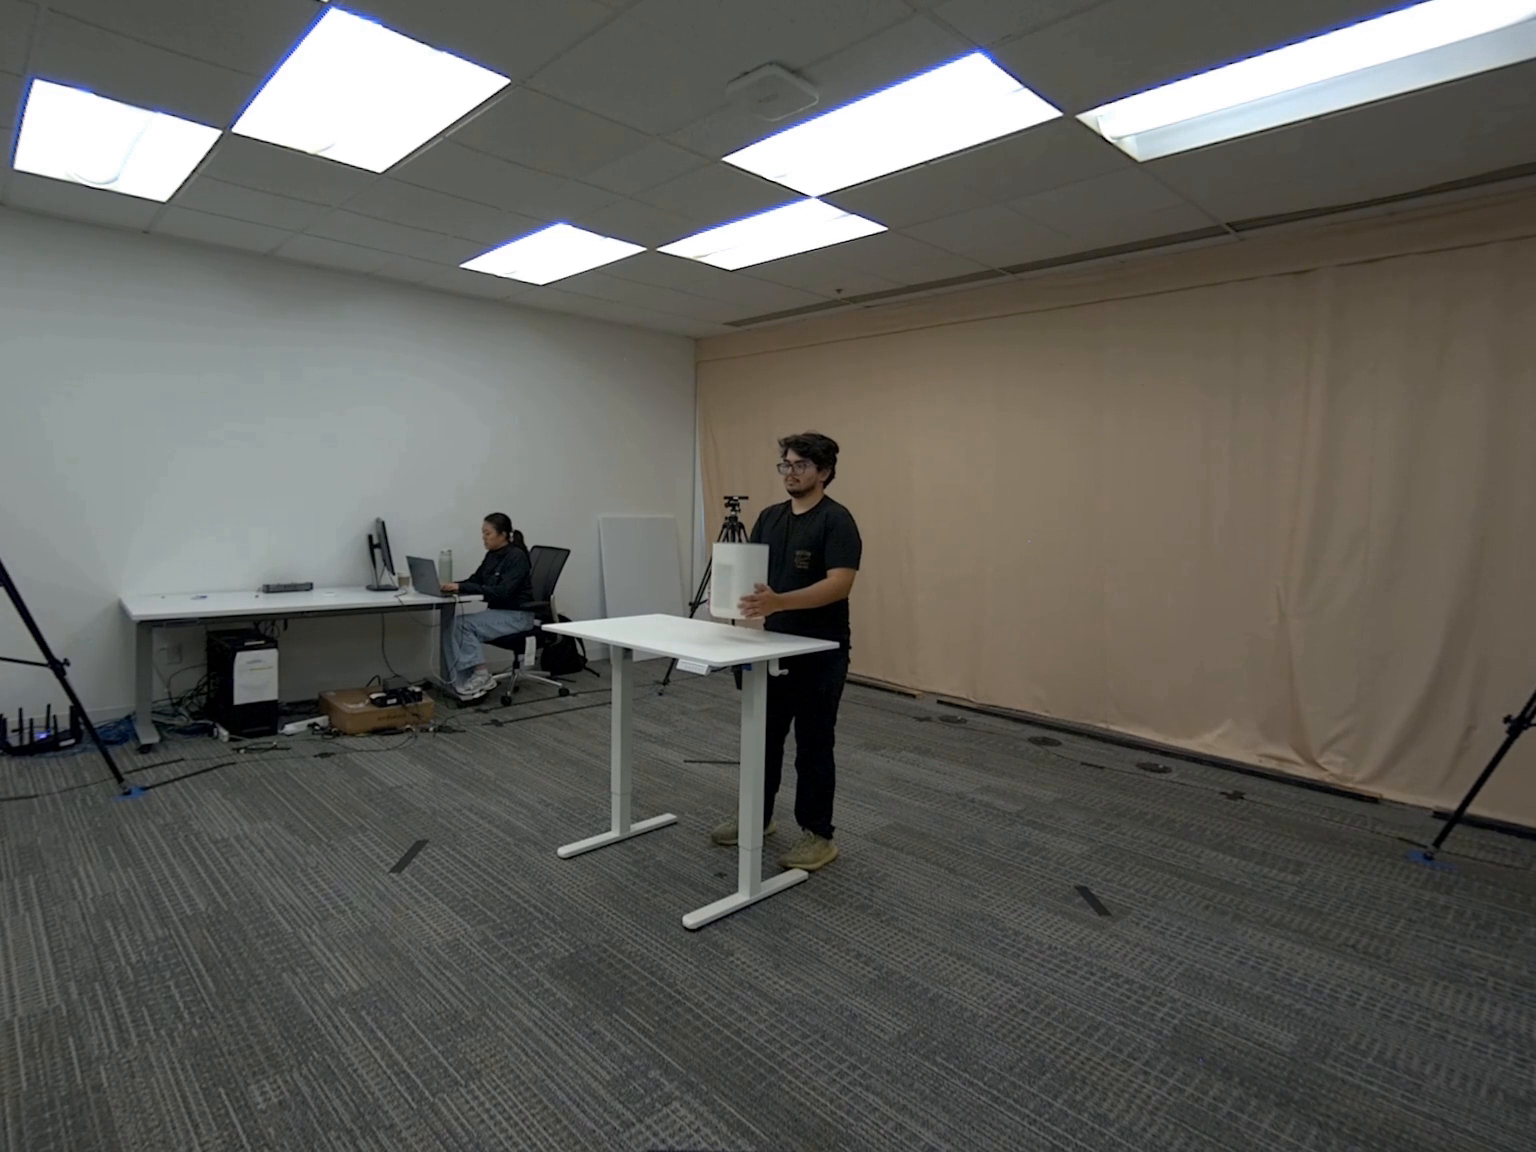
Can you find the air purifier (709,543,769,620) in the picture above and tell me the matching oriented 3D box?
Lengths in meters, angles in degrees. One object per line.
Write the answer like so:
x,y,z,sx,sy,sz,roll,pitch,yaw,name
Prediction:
-0.110,0.015,2.998,0.176,0.265,0.167,2,0,40,air purifier
